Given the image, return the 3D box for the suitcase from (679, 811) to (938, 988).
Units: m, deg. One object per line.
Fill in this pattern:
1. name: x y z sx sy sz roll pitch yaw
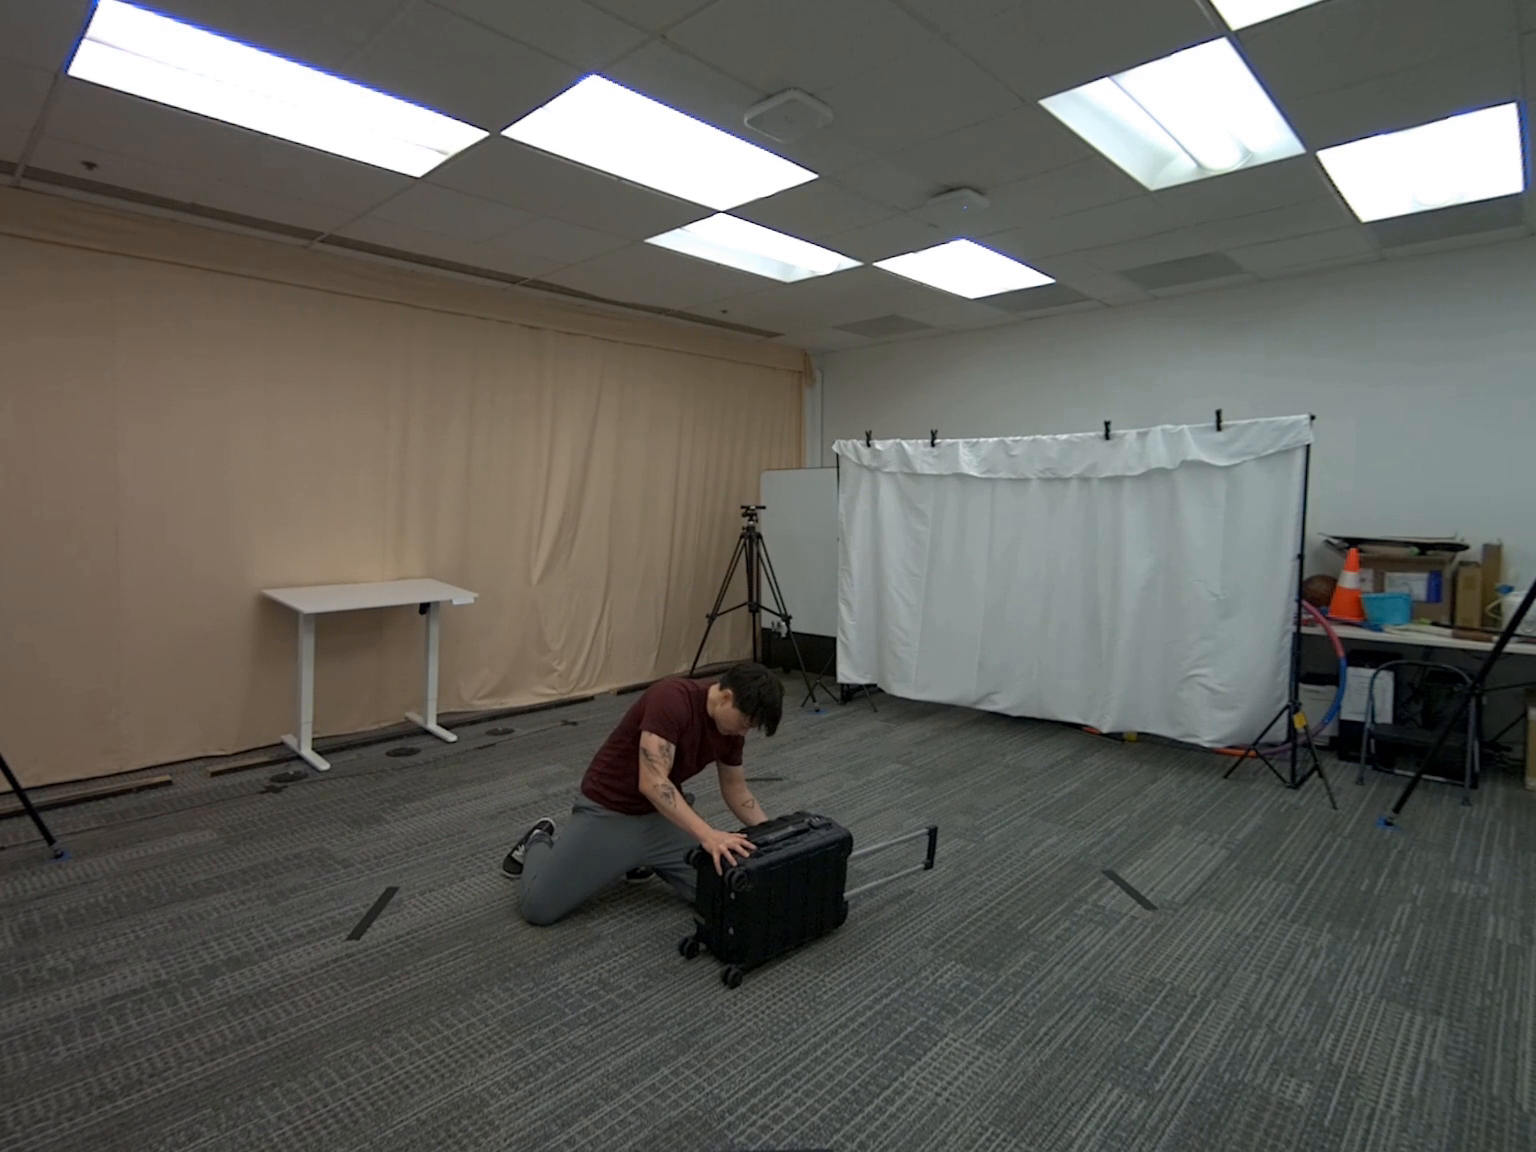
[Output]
1. suitcase: 0.171 0.973 2.801 0.948 0.383 0.266 -3 7 -42
